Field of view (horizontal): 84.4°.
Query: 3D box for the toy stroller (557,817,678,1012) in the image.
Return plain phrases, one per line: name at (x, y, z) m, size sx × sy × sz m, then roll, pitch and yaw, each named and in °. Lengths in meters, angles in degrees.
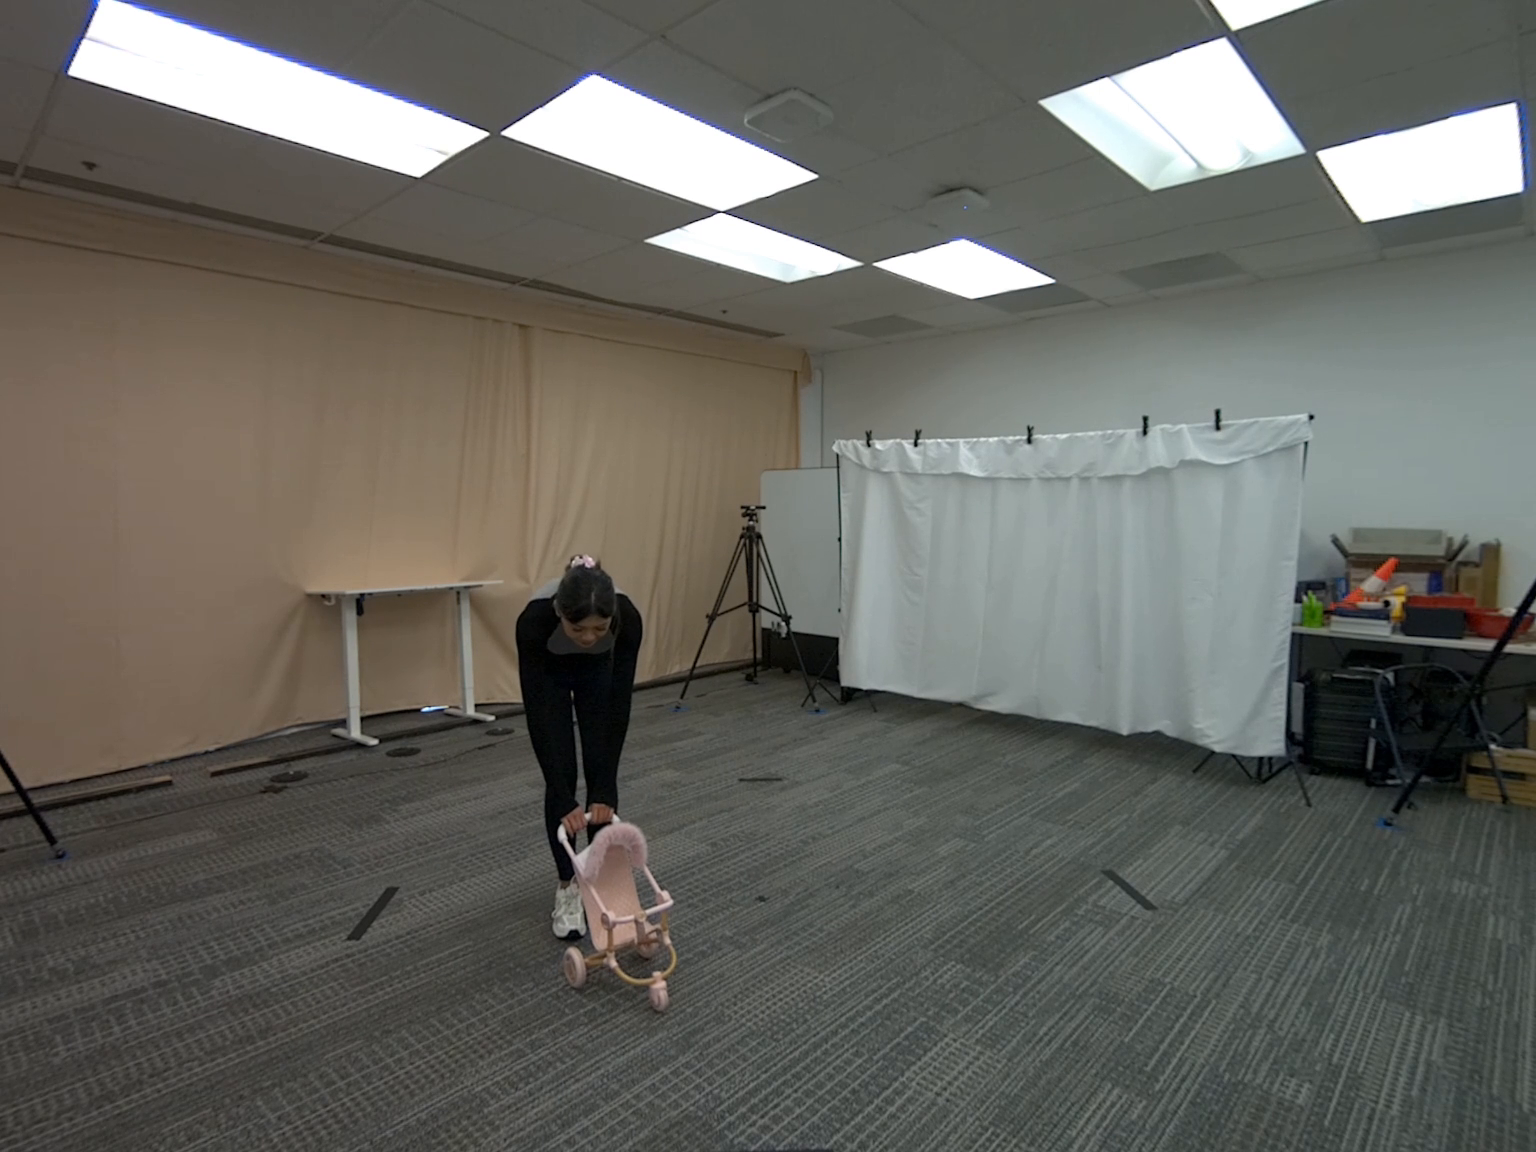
toy stroller at (-0.430, 0.966, 2.461) m, size 0.273 × 0.539 × 0.349 m, roll -3°, pitch -12°, yaw -37°
